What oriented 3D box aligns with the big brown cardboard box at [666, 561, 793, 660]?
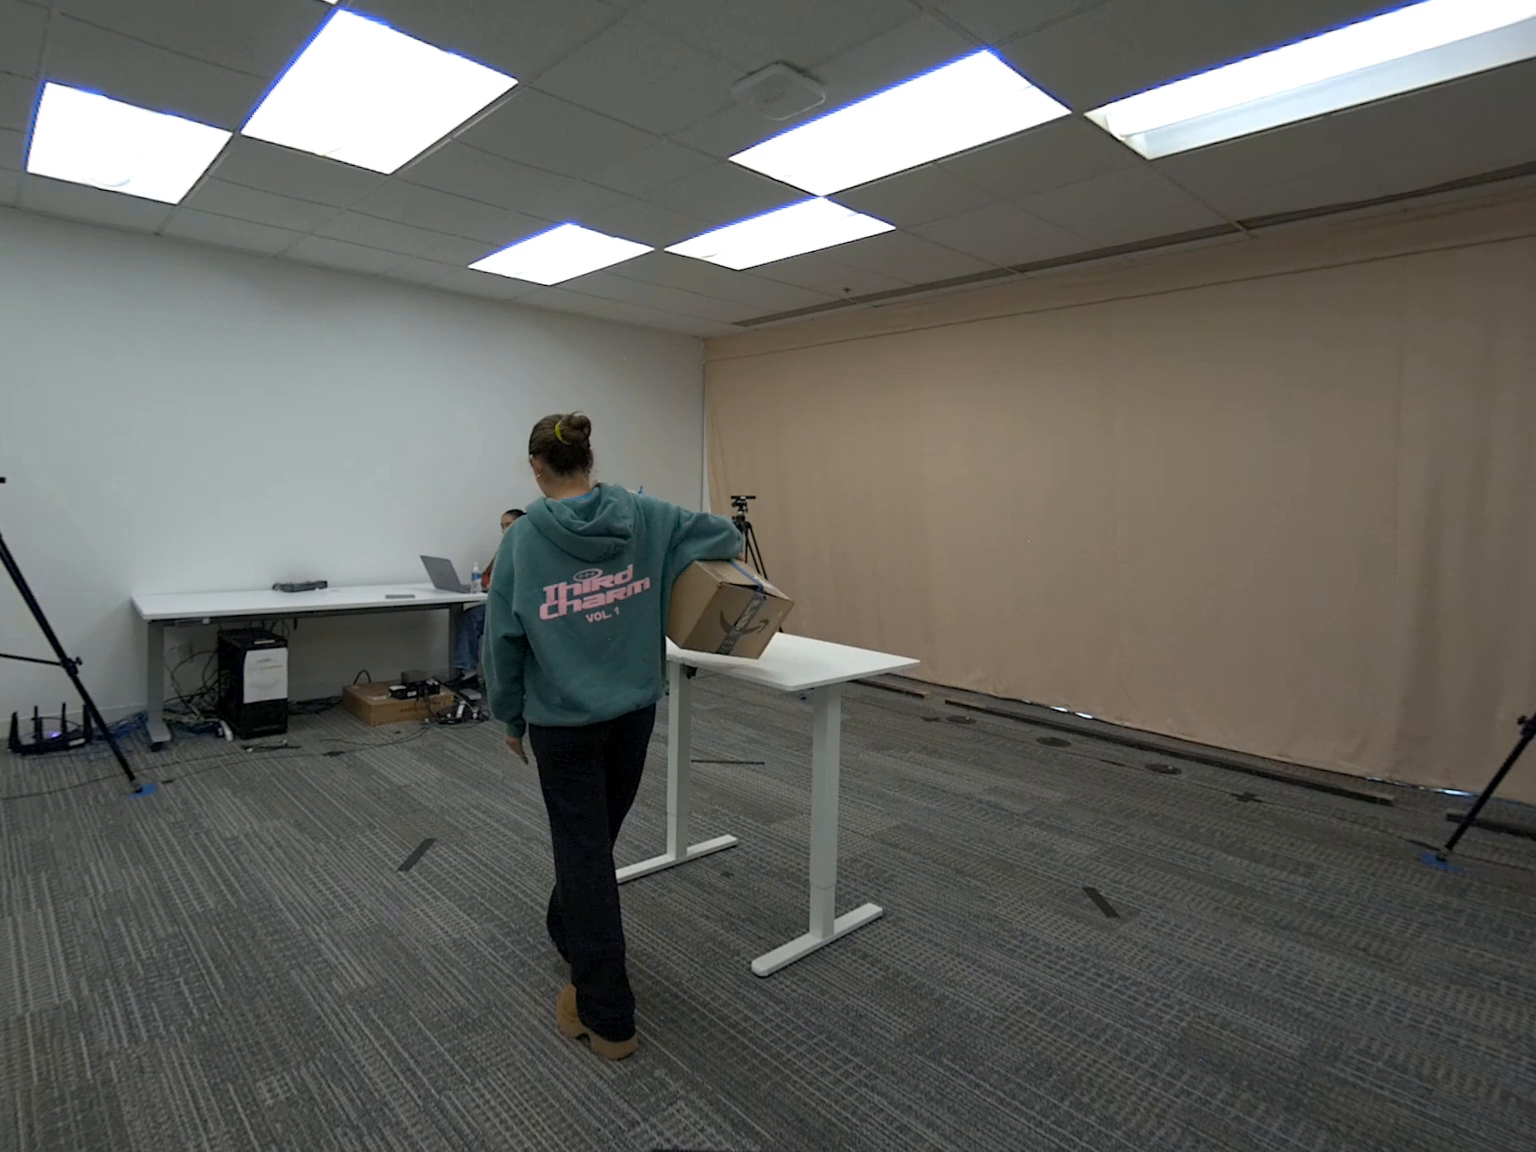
[{"bbox_3d":[-0.270,-0.011,2.520,0.606,0.233,0.406,37,10,31],"label":"big brown cardboard box"}]
